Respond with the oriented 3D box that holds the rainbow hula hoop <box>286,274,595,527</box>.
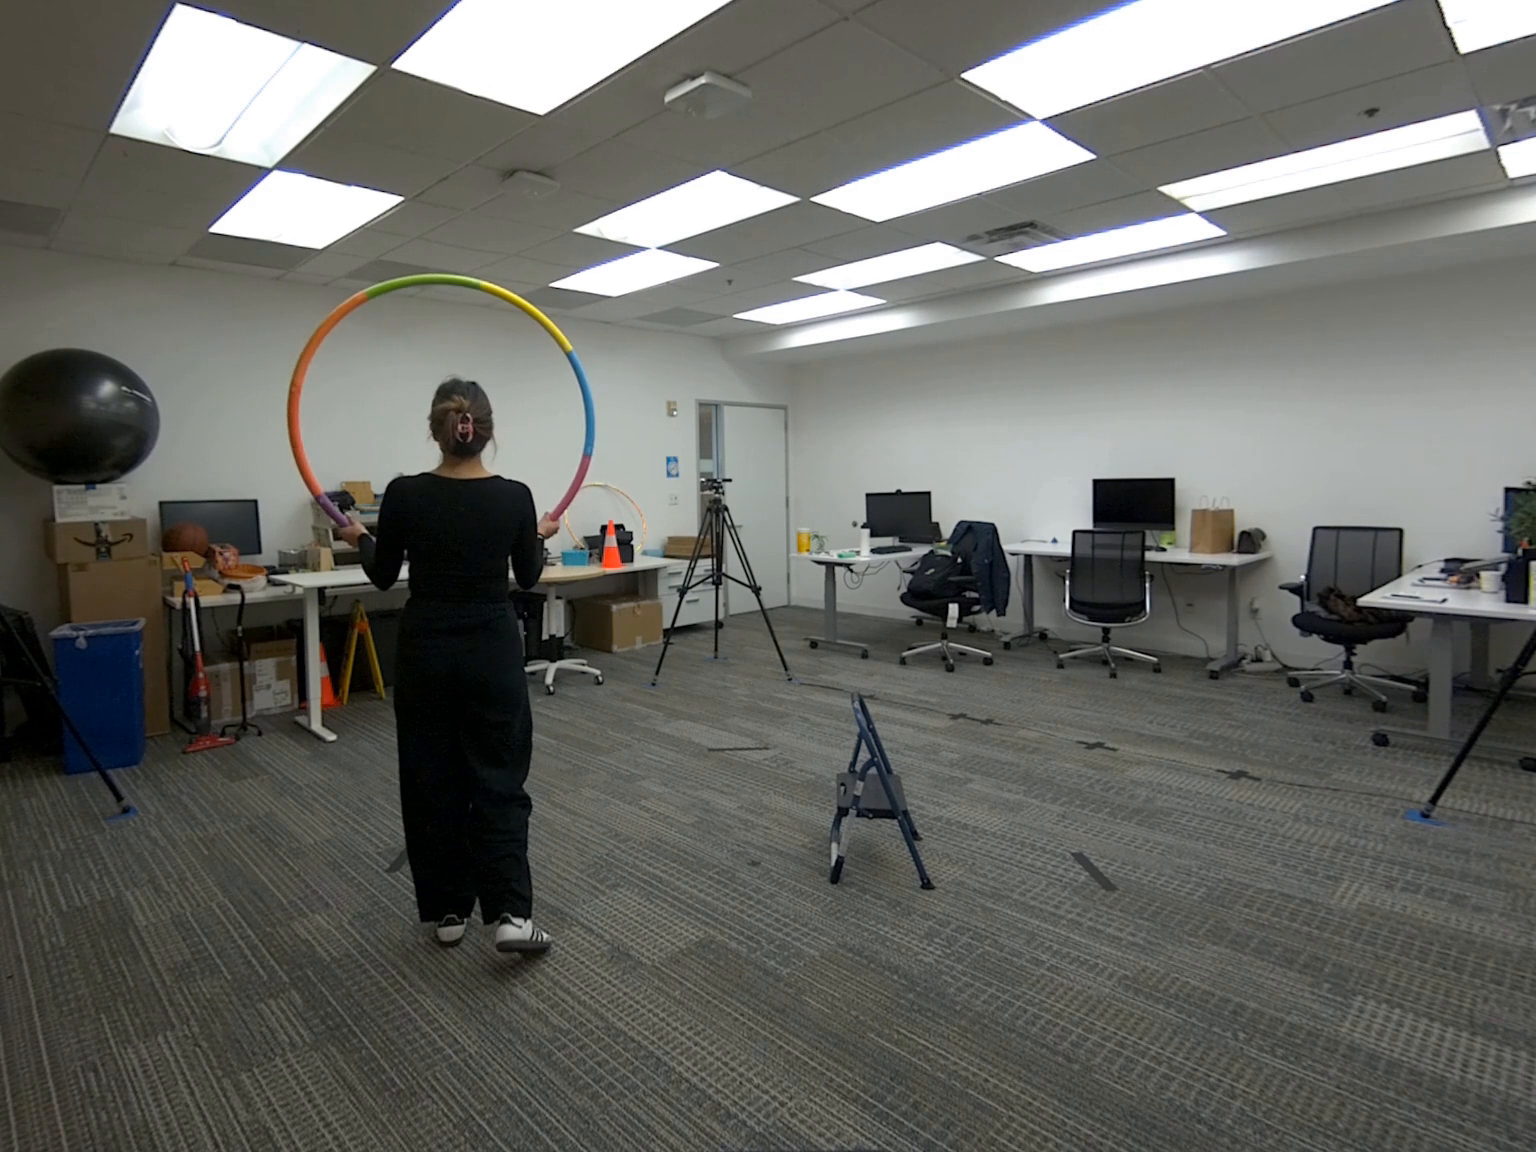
[{"bbox_3d":[-1.078,-0.522,2.882,0.963,0.977,0.036,-2,2,-17],"label":"rainbow hula hoop"}]
